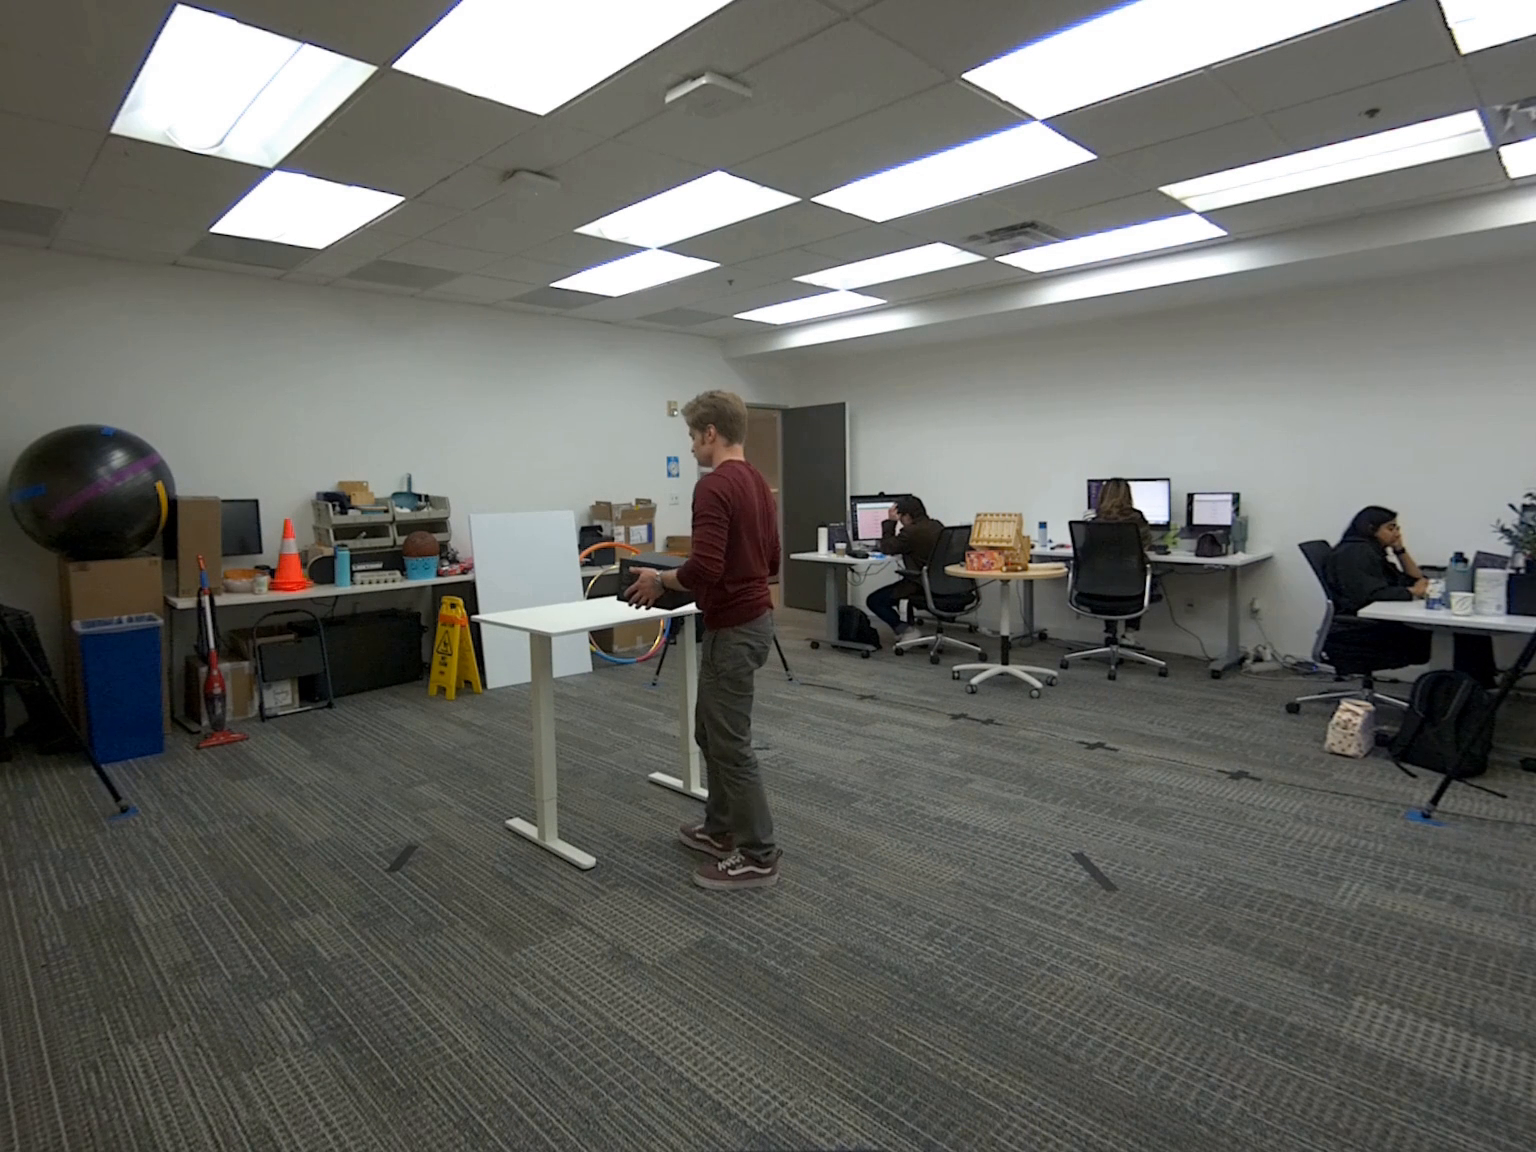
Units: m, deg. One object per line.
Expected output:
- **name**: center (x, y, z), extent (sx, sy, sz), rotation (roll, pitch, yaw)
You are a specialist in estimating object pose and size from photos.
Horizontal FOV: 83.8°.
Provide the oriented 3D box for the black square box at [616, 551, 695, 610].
- **black square box**: center (-0.382, 0.009, 3.052), extent (0.222, 0.155, 0.224), rotation (8, 8, 23)
